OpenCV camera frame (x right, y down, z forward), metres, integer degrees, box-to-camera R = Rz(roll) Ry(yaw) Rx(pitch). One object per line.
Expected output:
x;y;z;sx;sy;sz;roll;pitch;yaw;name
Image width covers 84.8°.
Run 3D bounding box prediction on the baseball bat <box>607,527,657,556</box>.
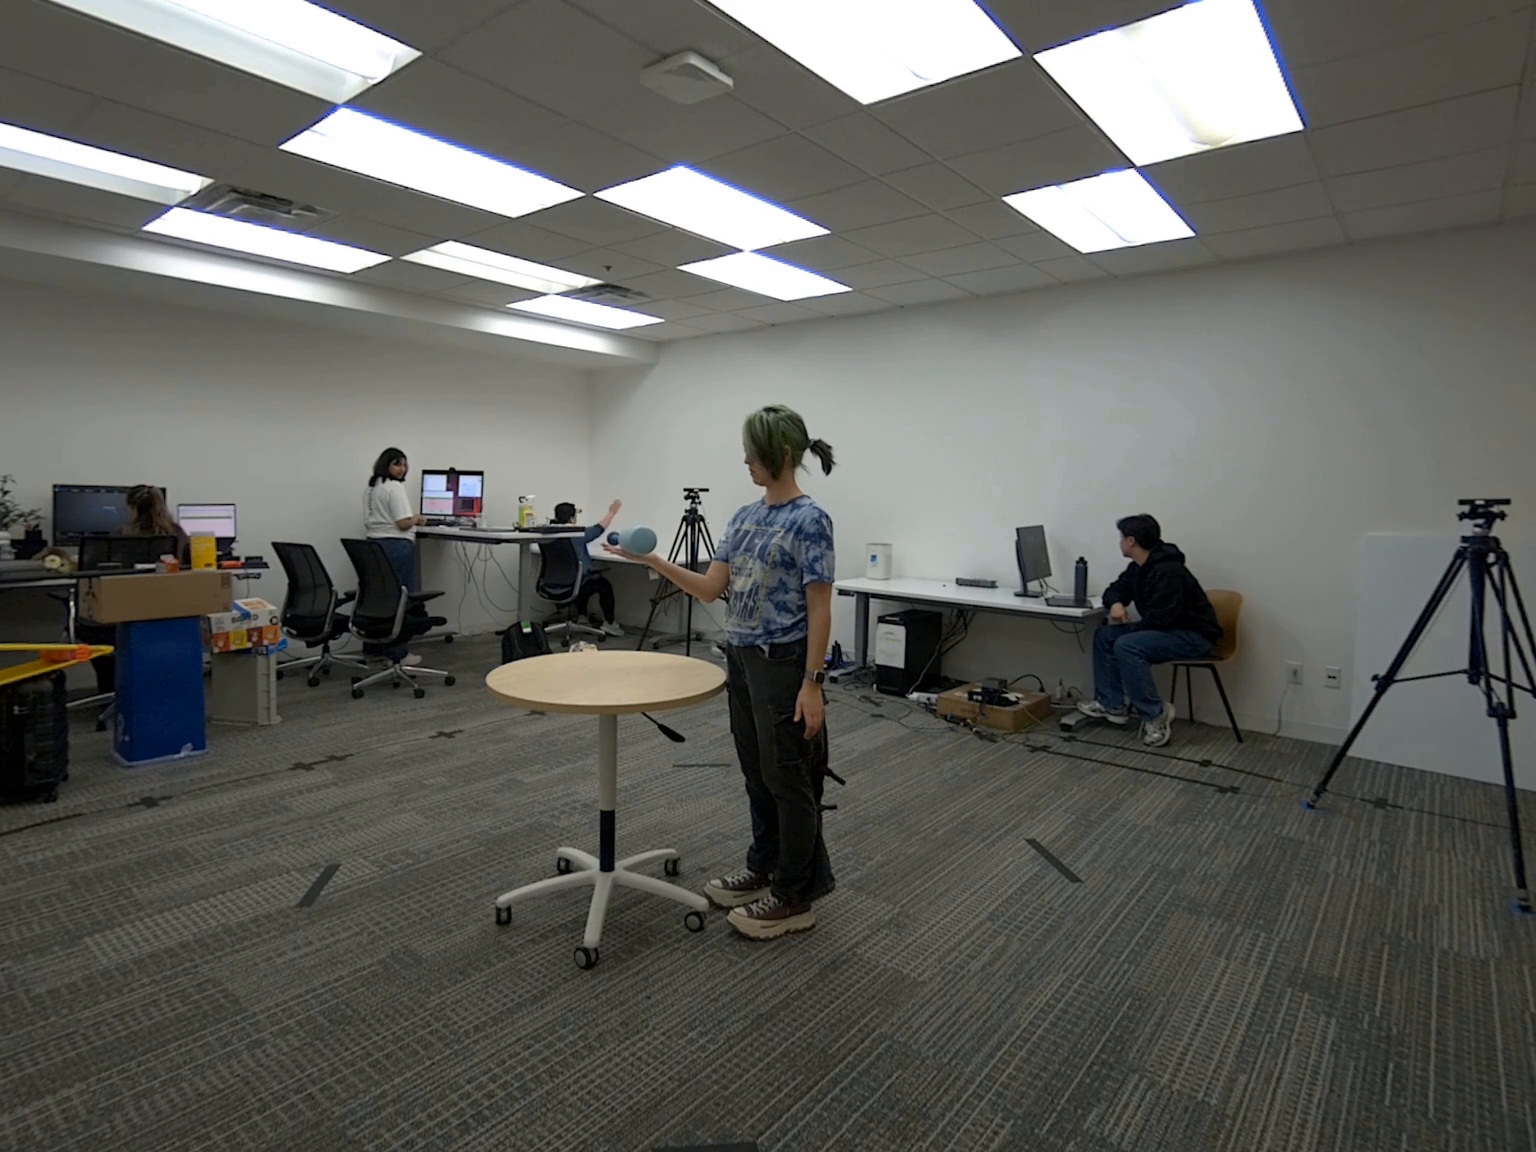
-0.465;-0.116;2.725;0.087;0.089;0.554;0;3;-19;baseball bat
